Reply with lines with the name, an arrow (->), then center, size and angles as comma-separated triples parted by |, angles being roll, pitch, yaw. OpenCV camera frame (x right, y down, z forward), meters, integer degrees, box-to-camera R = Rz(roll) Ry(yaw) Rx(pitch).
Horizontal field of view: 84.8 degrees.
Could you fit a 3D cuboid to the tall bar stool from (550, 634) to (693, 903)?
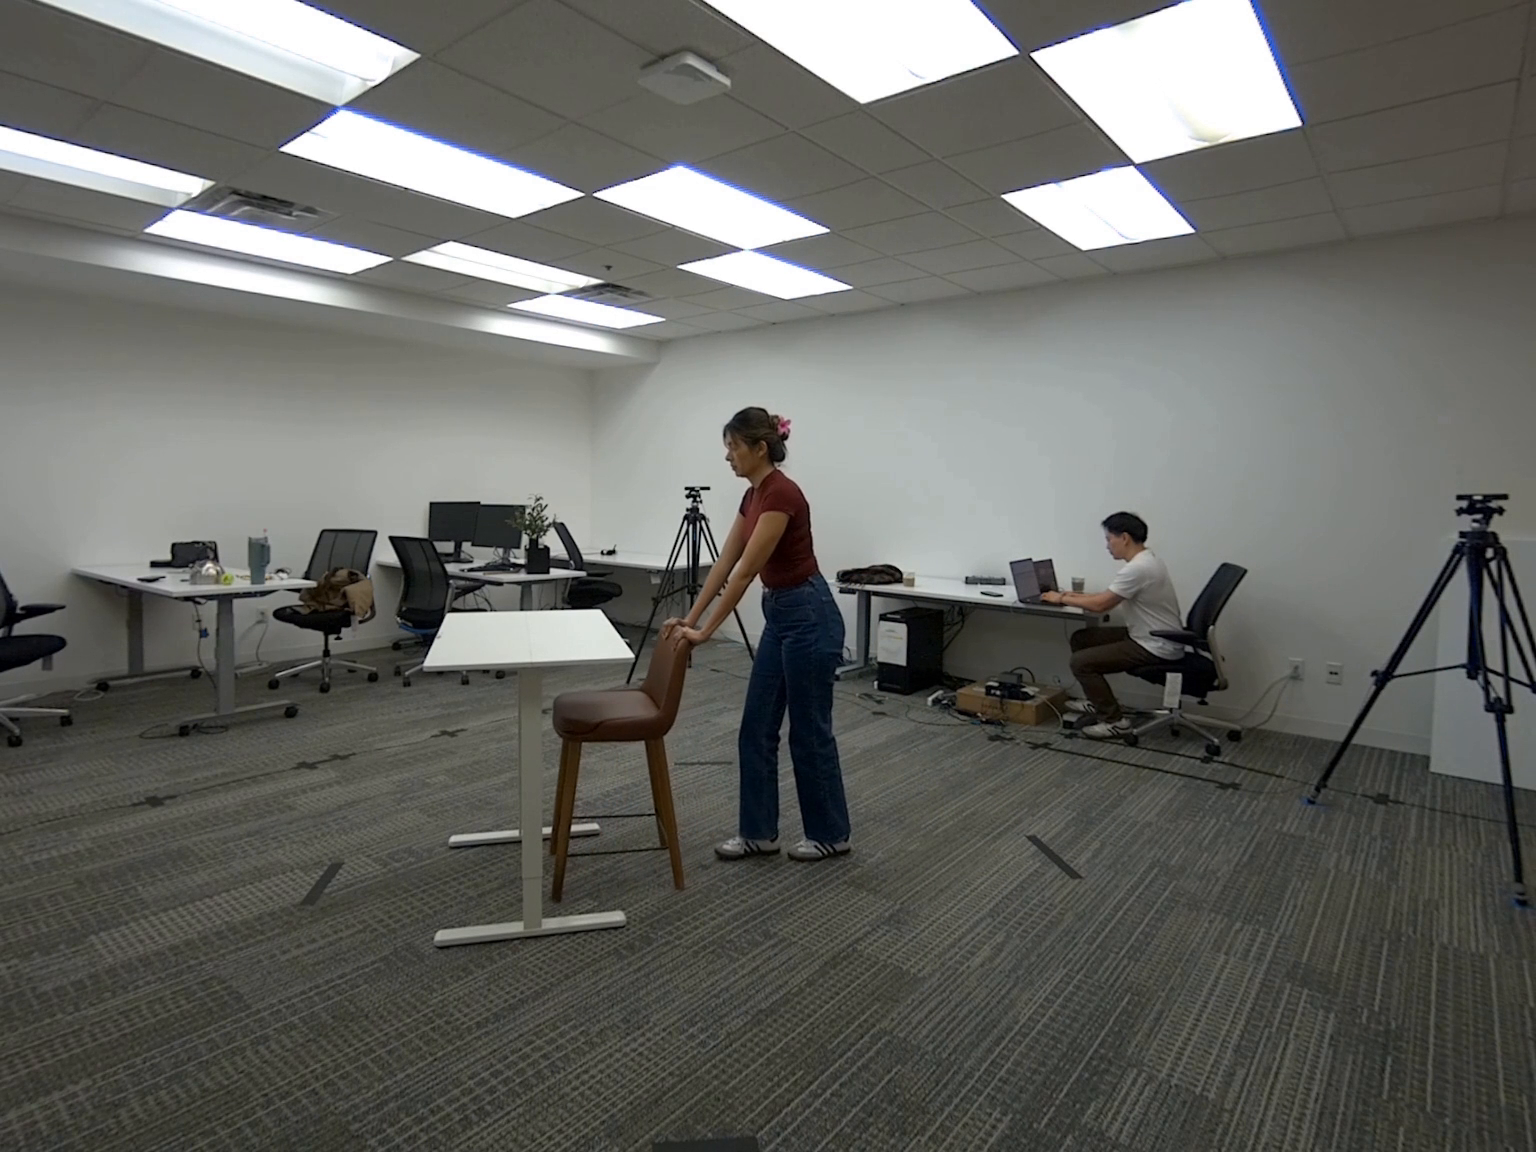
tall bar stool -> -0.544, 0.627, 3.054 | 0.461, 0.888, 0.464 | 2, 2, -14
